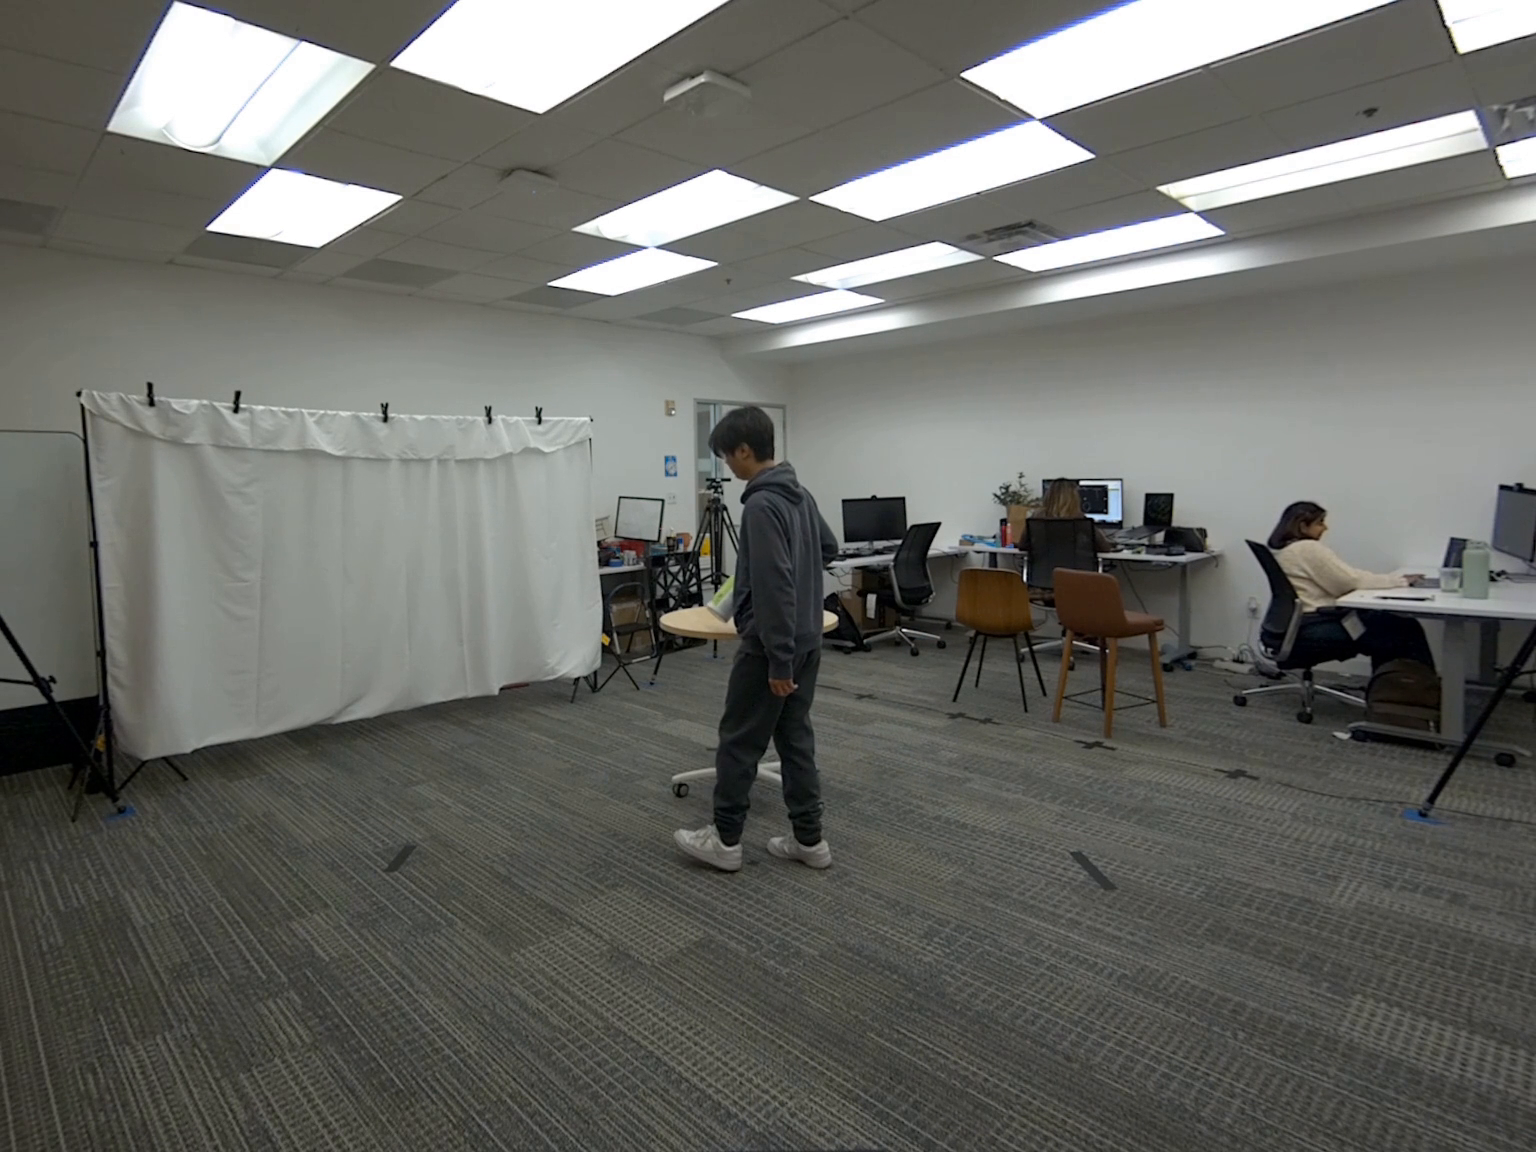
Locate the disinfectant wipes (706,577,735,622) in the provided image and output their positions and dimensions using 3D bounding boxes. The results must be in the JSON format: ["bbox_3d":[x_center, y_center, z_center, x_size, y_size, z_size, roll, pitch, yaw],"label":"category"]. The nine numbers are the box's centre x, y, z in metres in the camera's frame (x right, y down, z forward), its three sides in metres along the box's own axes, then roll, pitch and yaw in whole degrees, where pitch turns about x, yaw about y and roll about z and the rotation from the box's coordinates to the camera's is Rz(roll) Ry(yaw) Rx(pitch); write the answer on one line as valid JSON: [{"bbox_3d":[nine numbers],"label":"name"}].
[{"bbox_3d":[-0.133,0.075,3.358,0.119,0.218,0.116,37,-12,8],"label":"disinfectant wipes"}]
